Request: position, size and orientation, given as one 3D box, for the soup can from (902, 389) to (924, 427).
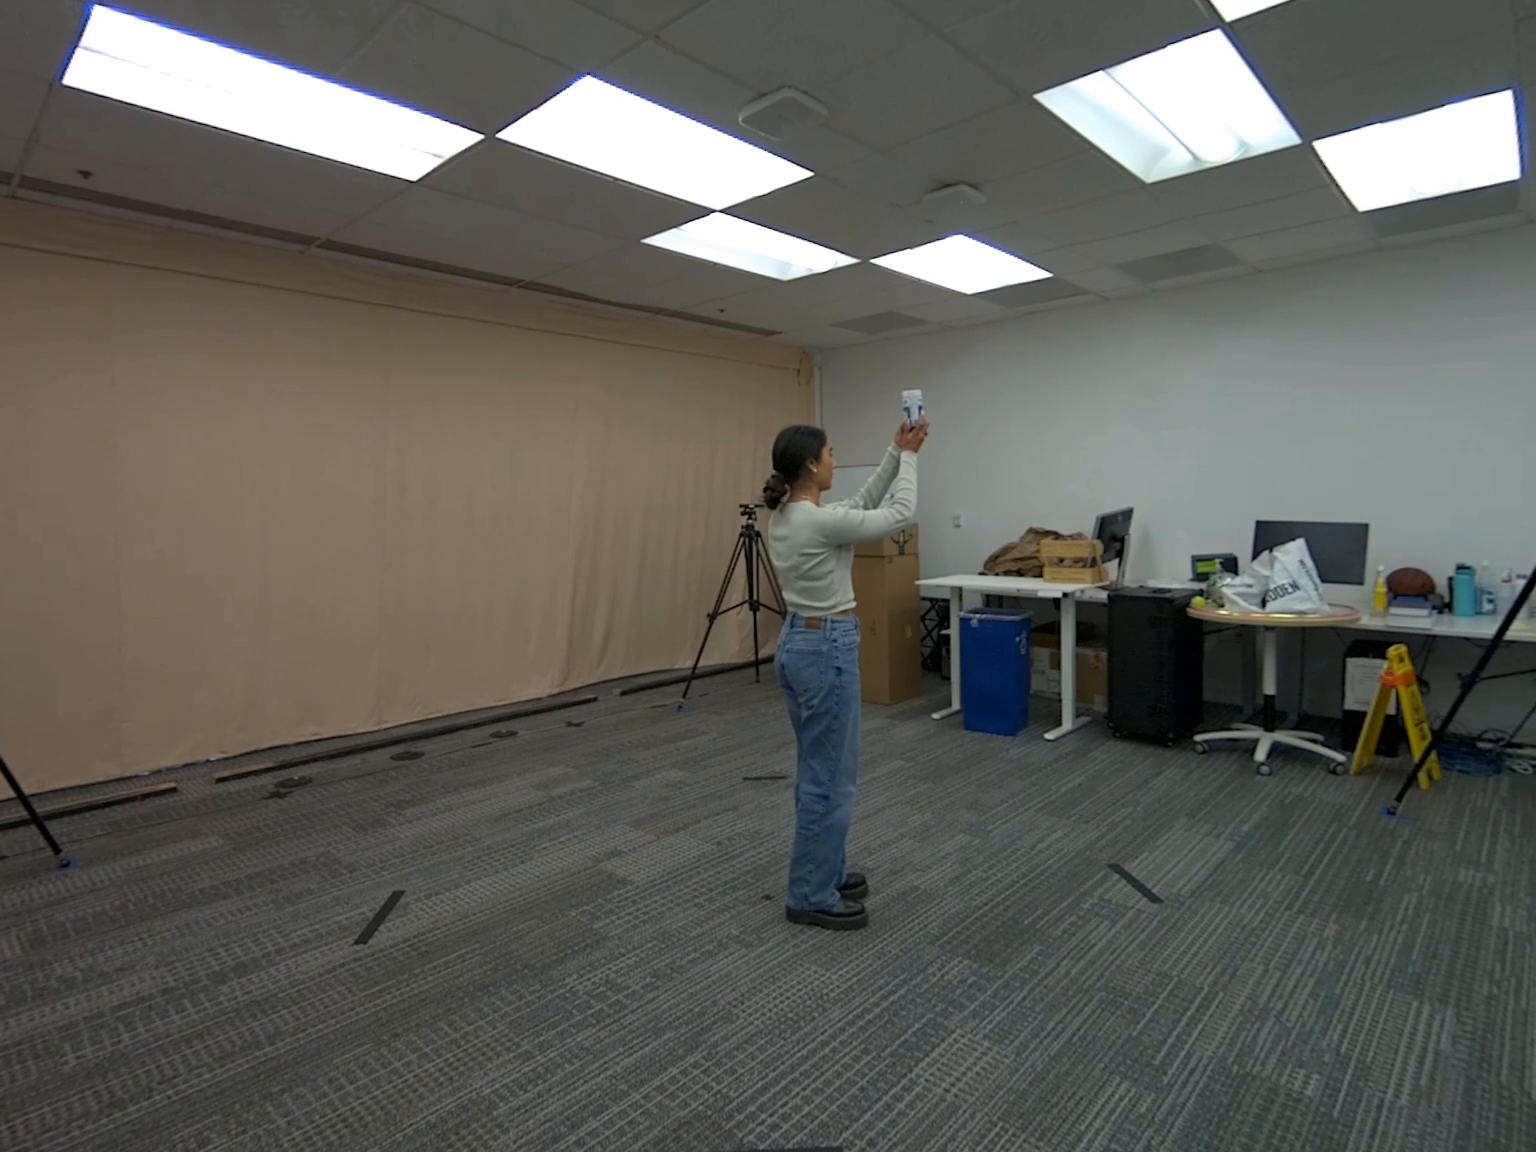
[{"bbox_3d":[0.493,-0.569,2.874,0.067,0.121,0.067,-4,5,-1],"label":"soup can"}]
